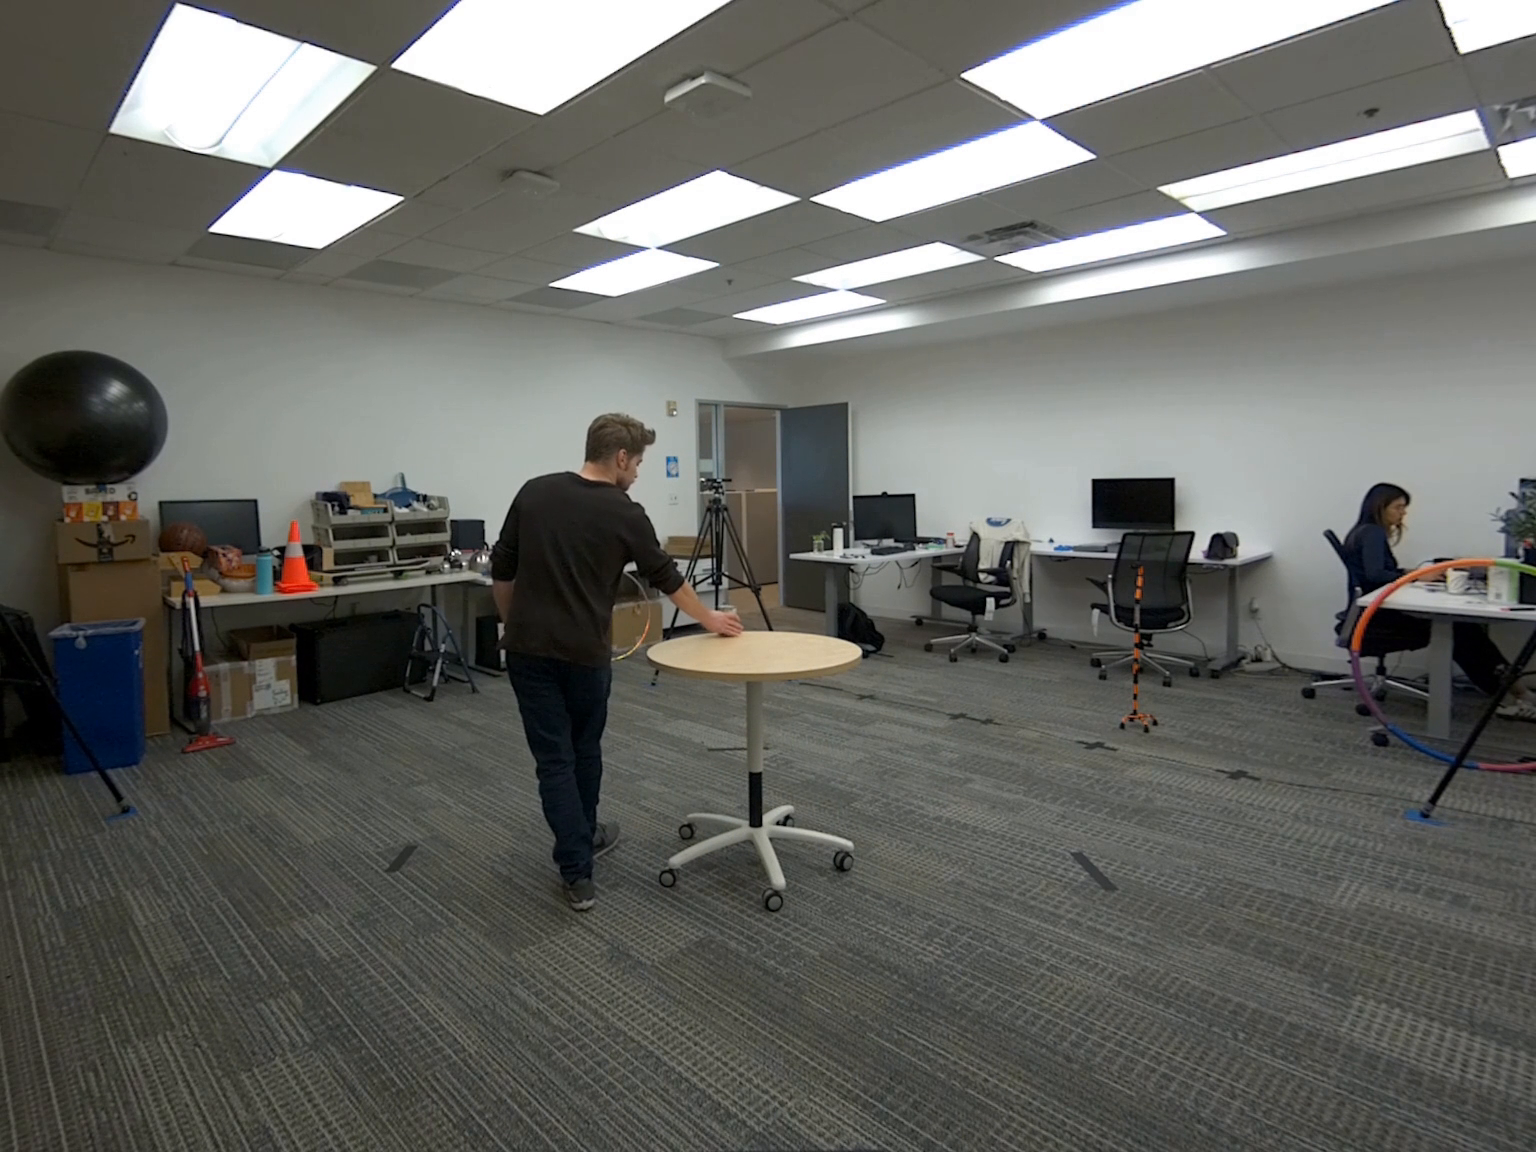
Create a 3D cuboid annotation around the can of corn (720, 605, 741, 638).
[{"bbox_3d":[-0.149,0.177,3.373,0.074,0.111,0.074,-2,4,-2],"label":"can of corn"}]
